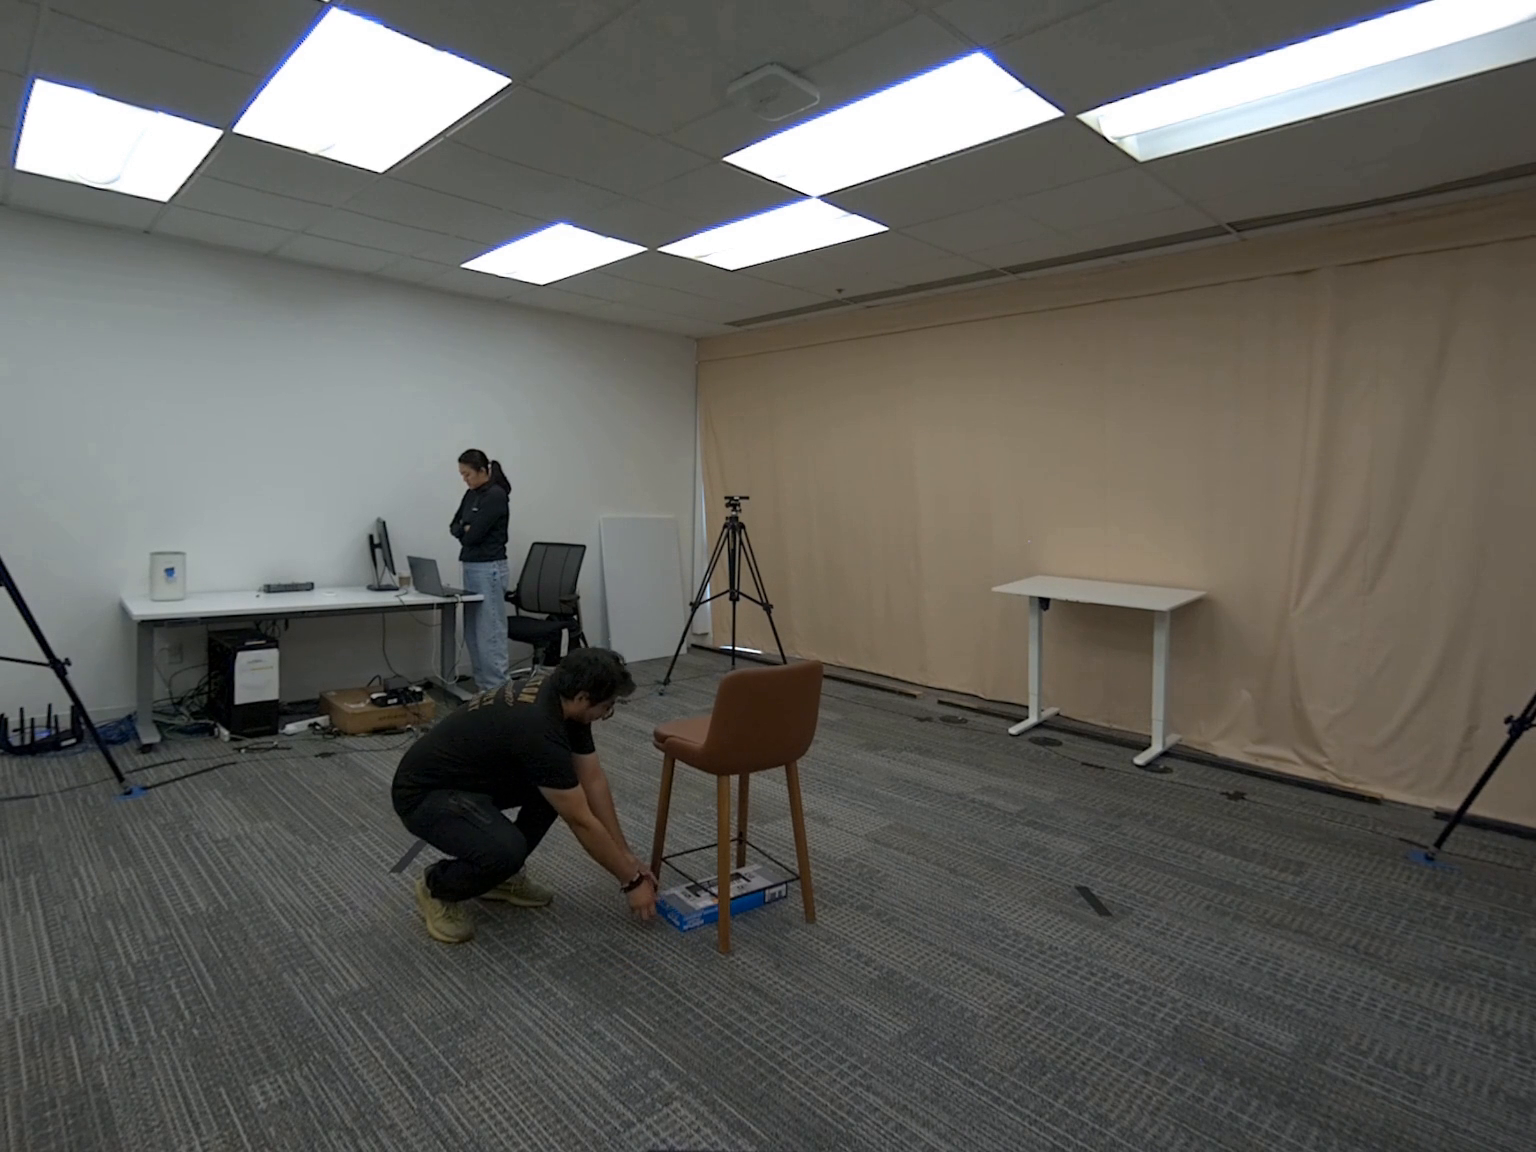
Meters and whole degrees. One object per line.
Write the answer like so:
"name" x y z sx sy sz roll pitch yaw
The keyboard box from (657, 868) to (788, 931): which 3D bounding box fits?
"keyboard box" -0.166 1.096 2.876 0.427 0.059 0.180 -2 7 -37
